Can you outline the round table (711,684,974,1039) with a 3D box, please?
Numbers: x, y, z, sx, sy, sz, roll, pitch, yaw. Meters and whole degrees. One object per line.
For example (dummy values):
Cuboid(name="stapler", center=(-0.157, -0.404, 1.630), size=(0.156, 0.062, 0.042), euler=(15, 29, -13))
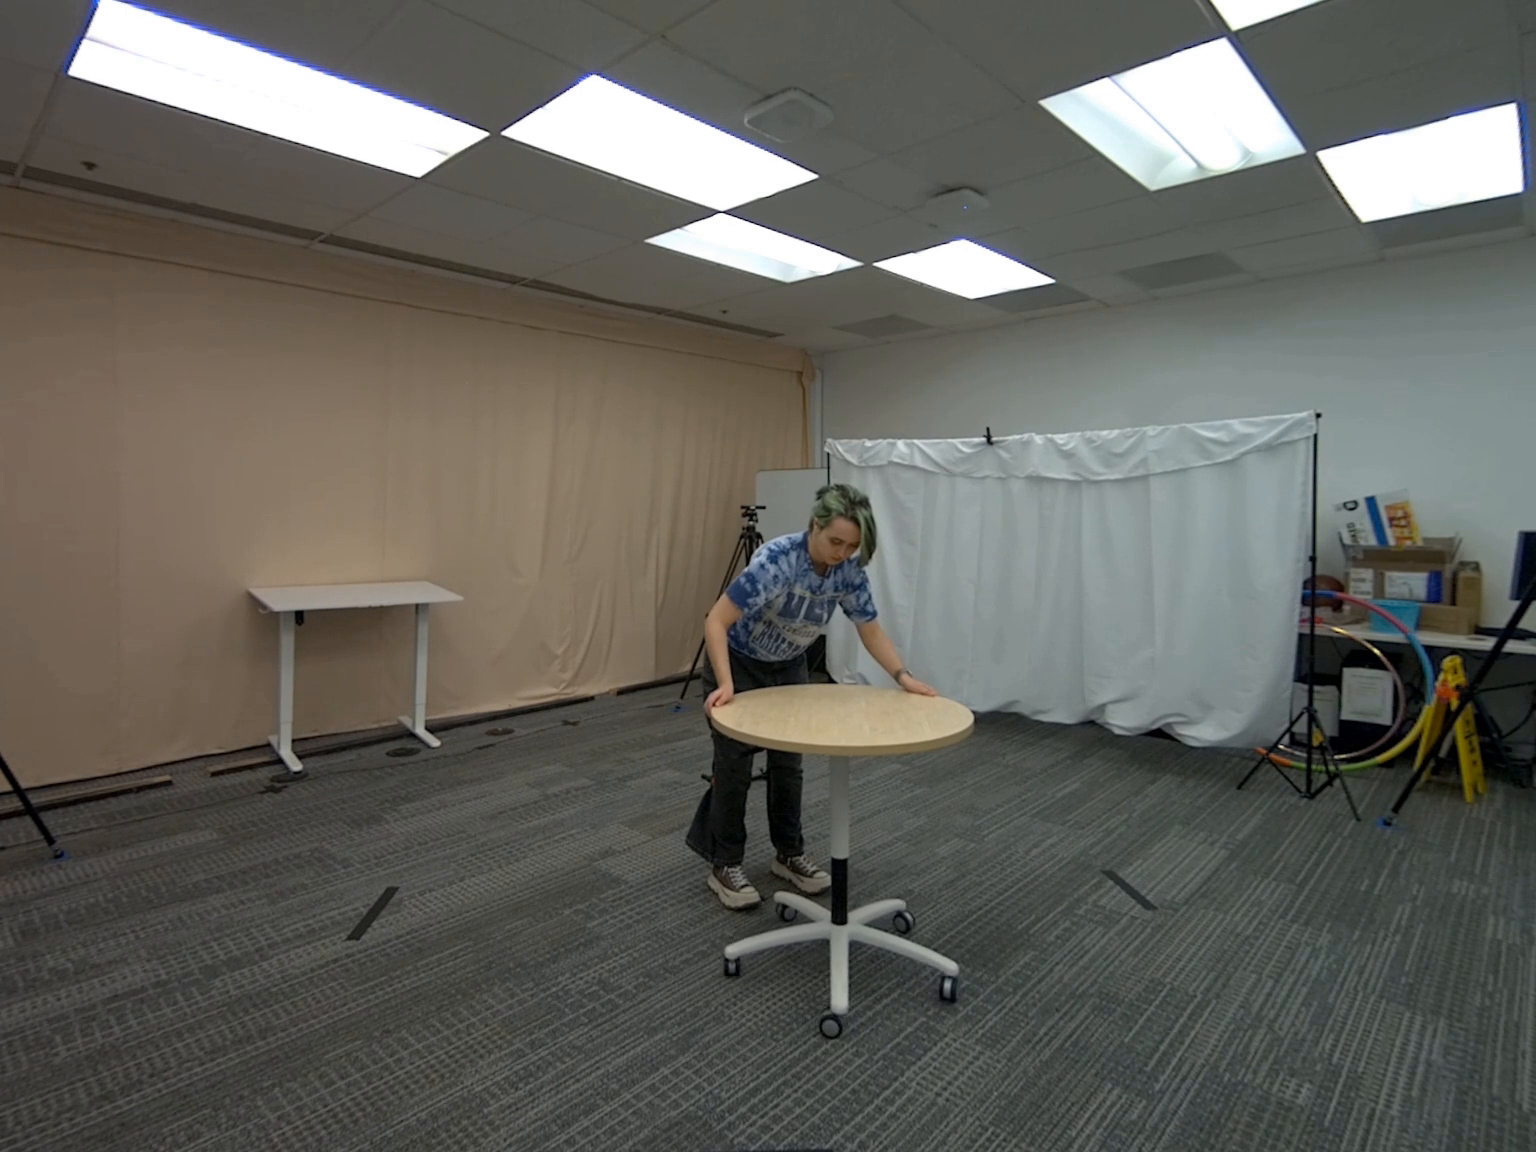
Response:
Cuboid(name="round table", center=(0.219, 0.794, 2.522), size=(0.763, 0.792, 0.766), euler=(0, 4, -2))
